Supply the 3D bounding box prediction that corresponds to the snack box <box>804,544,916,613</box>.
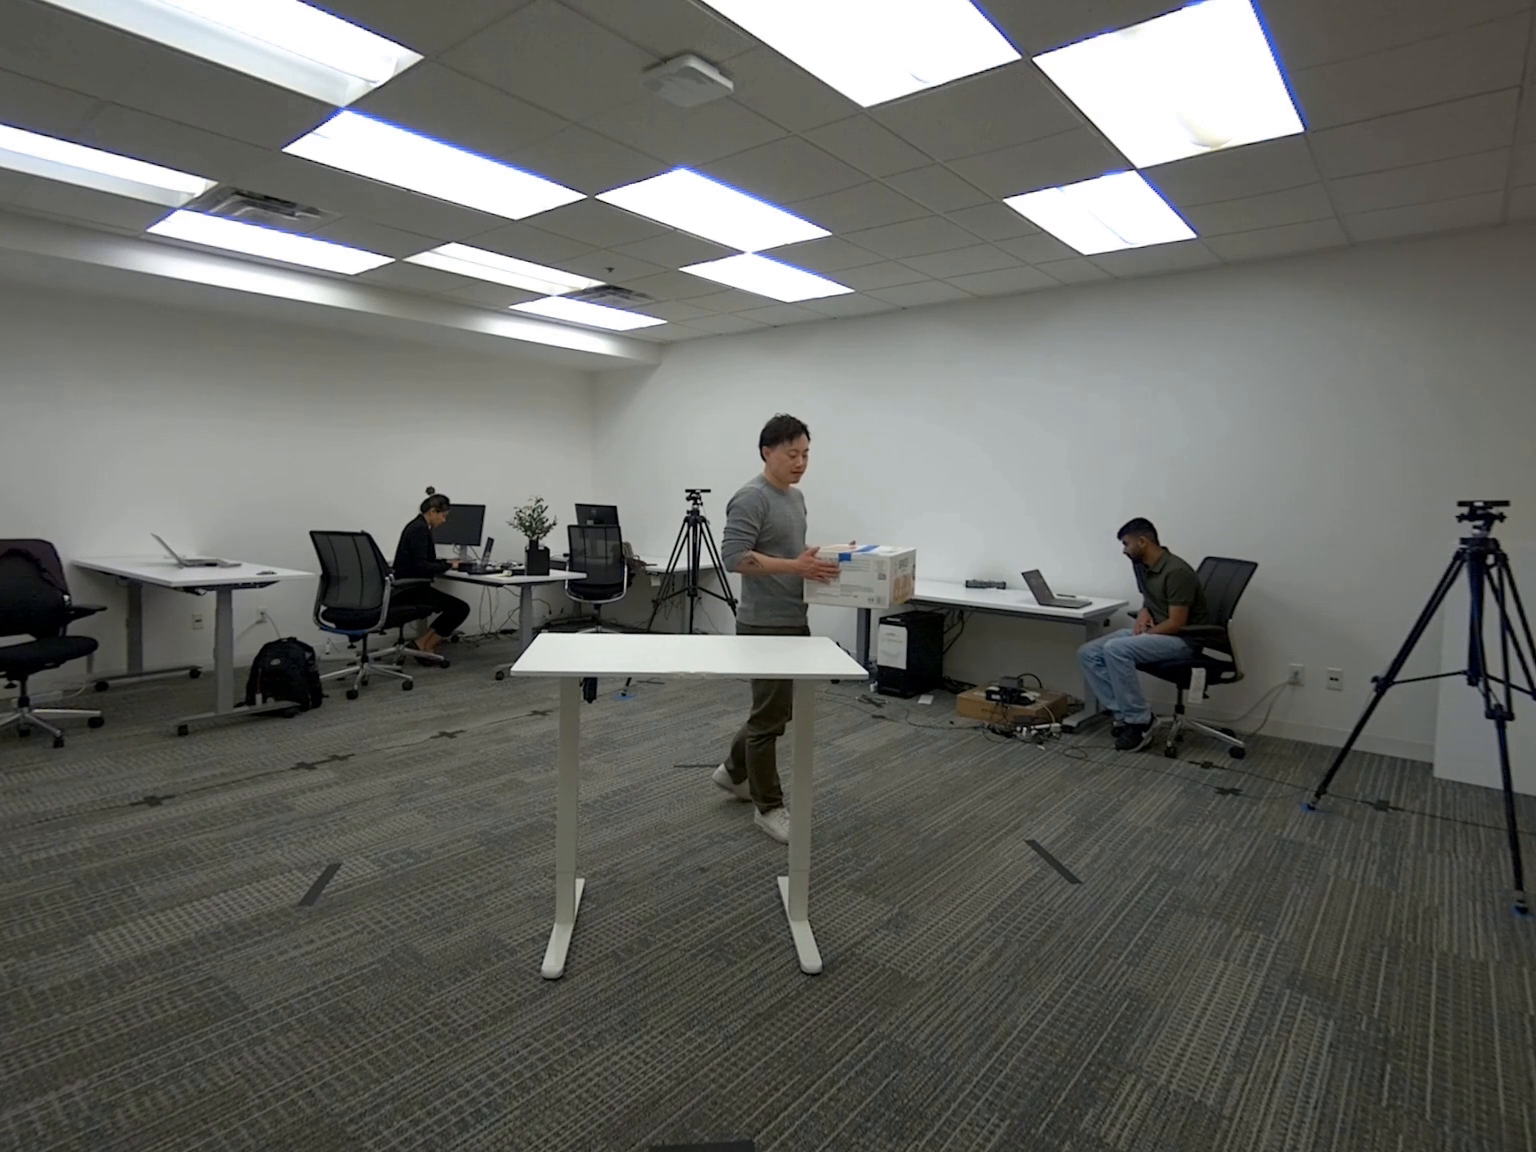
[{"bbox_3d":[0.365,-0.007,3.375,0.349,0.205,0.397,3,7,25],"label":"snack box"}]
